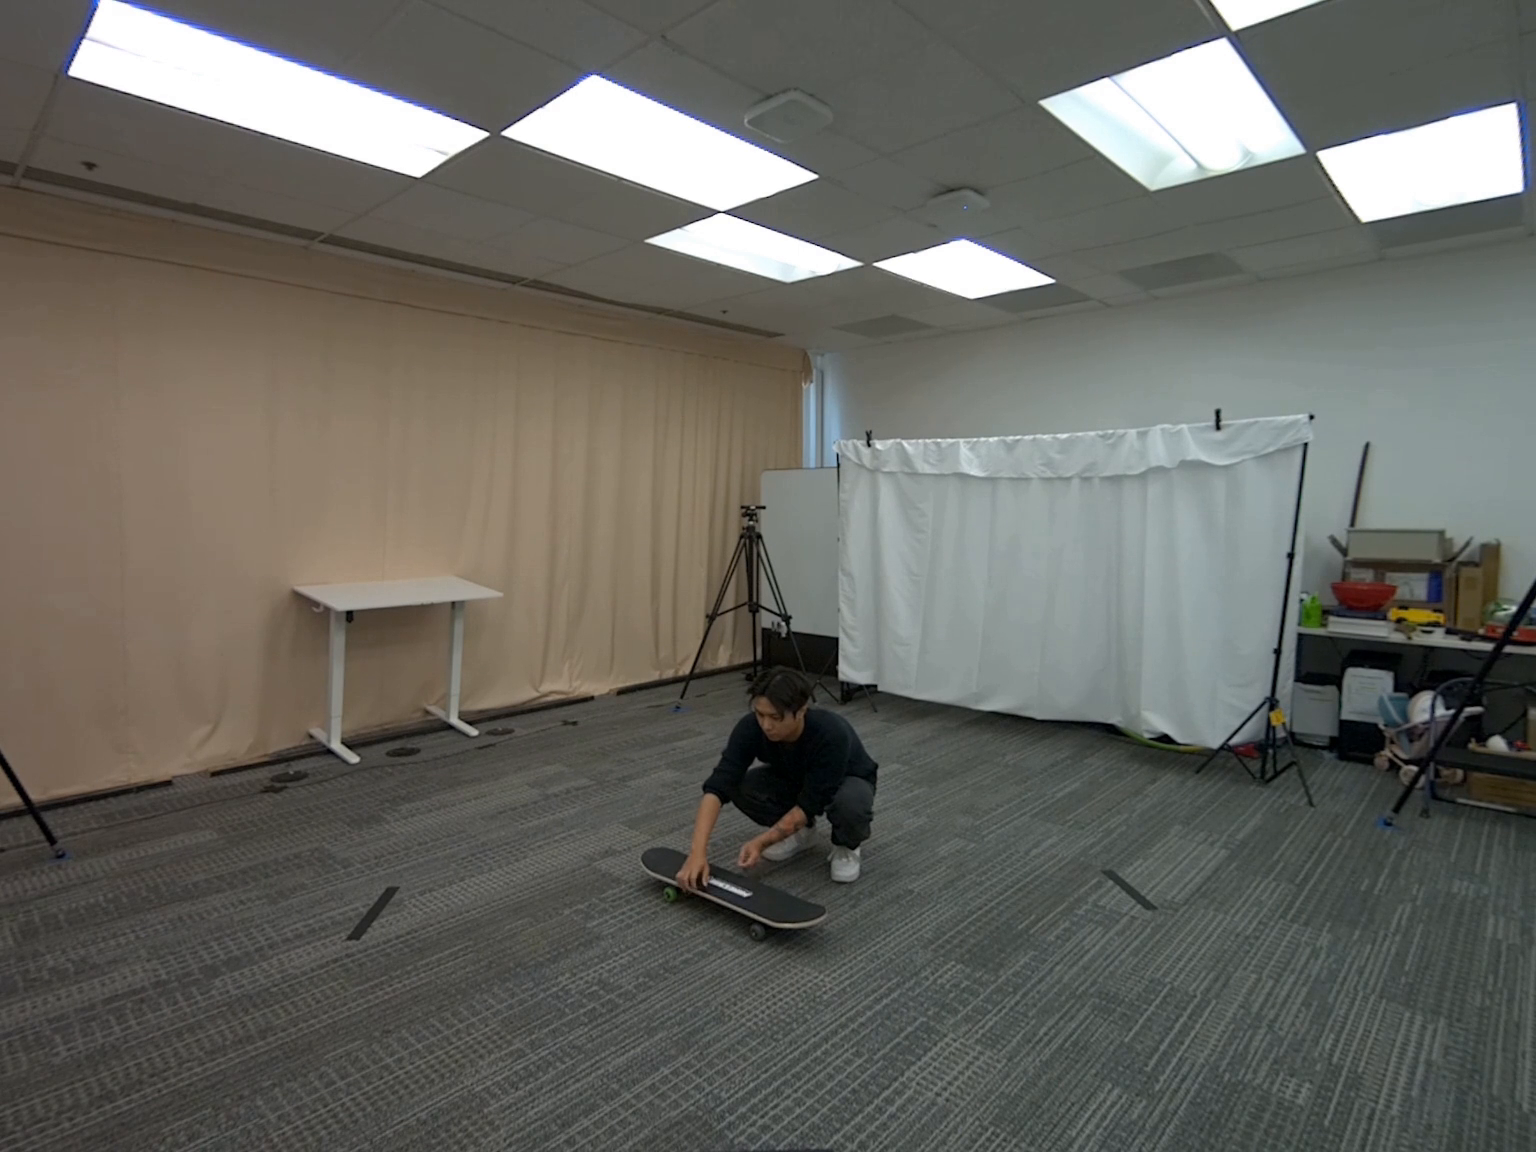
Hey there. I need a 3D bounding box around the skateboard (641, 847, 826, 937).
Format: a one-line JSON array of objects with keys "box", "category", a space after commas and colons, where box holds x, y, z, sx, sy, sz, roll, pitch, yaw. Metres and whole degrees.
[{"box": [-0.136, 1.091, 2.891, 0.811, 0.110, 0.187, 4, 6, 40], "category": "skateboard"}]
